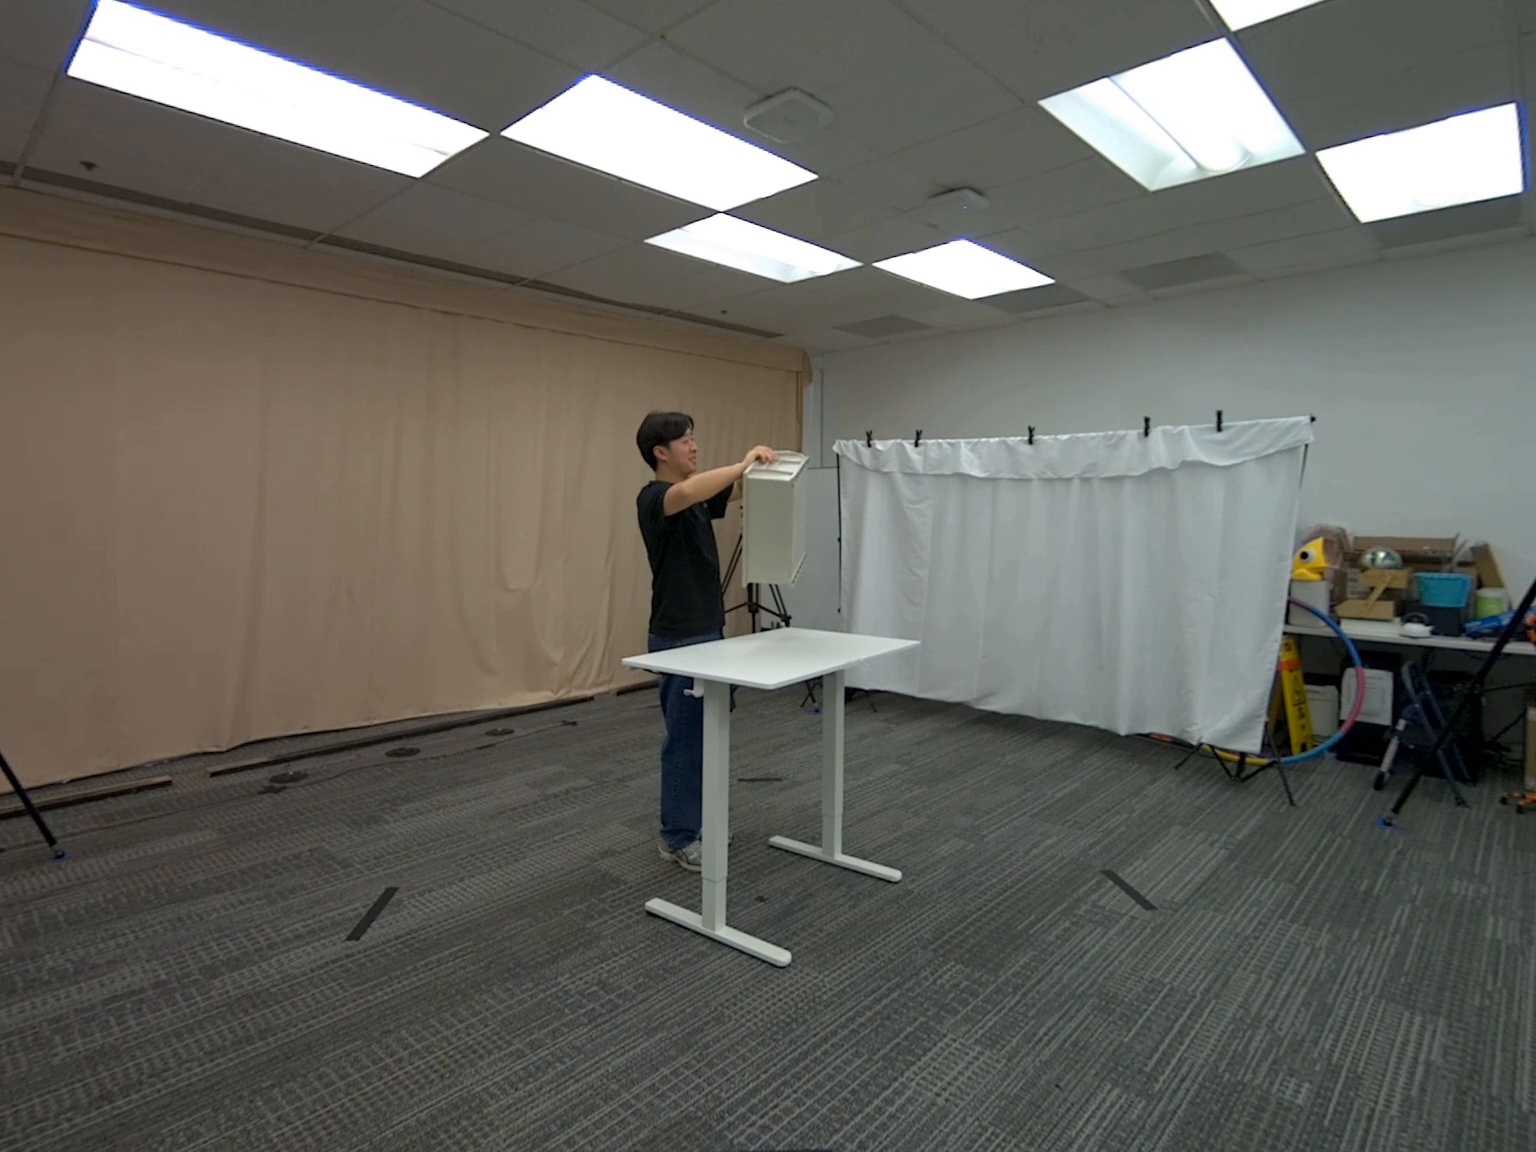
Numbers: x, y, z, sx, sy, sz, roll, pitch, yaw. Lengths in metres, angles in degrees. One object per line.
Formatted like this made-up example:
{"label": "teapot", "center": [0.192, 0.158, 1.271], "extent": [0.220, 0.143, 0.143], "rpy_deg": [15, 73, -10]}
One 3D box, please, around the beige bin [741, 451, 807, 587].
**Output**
{"label": "beige bin", "center": [0.031, -0.214, 3.090], "extent": [0.191, 0.418, 0.377], "rpy_deg": [5, 20, 7]}
